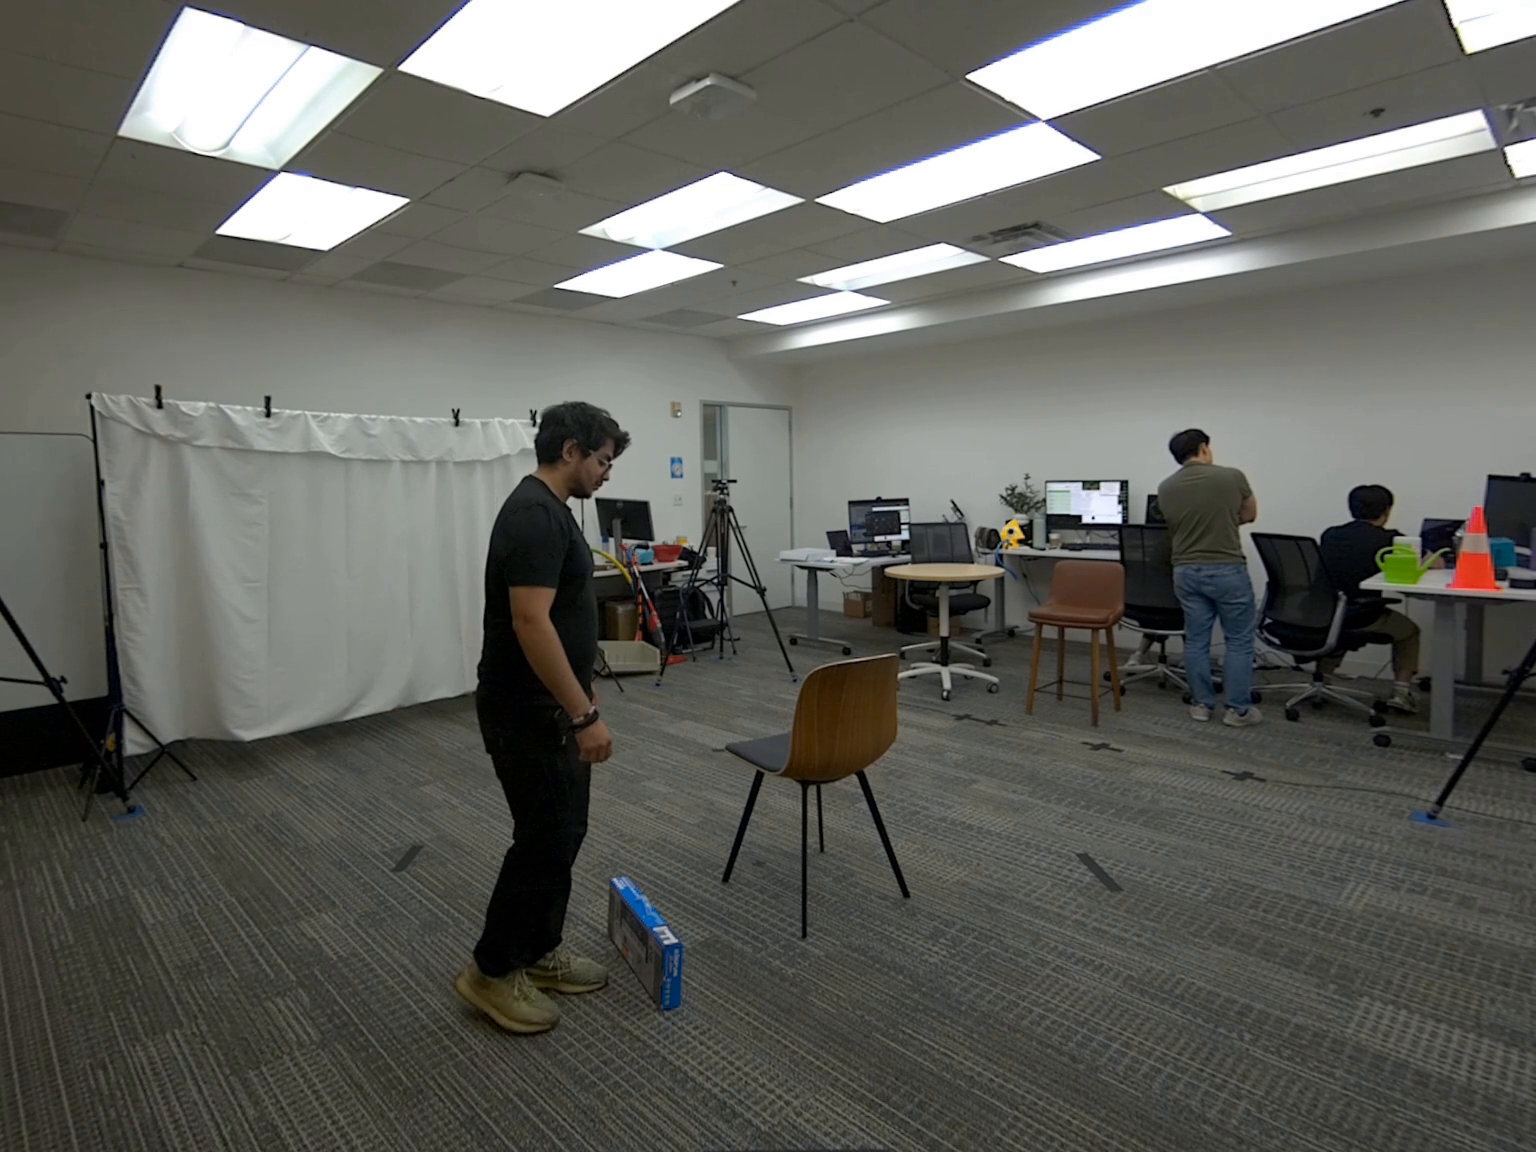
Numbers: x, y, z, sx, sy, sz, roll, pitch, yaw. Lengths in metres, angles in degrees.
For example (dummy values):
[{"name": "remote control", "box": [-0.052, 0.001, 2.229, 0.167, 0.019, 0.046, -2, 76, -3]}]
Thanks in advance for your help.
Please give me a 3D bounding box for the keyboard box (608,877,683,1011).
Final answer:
[{"name": "keyboard box", "box": [-0.358, 1.047, 2.457, 0.057, 0.175, 0.449, 1, 4, -30]}]
